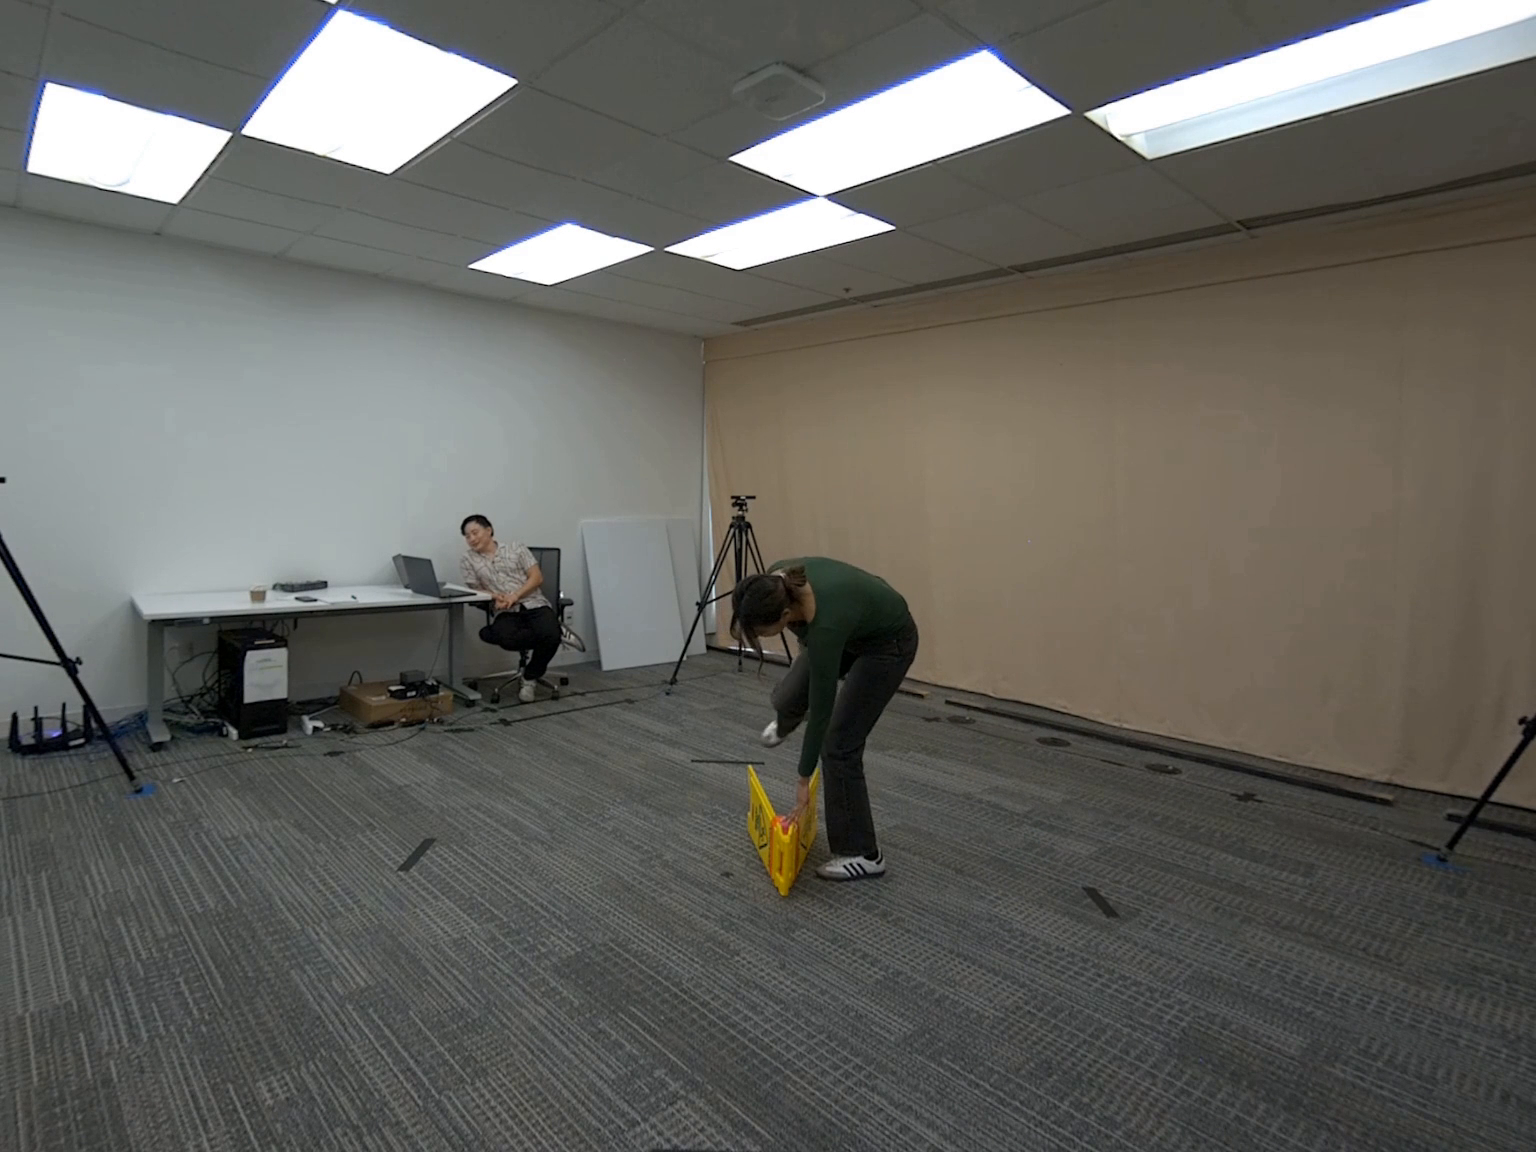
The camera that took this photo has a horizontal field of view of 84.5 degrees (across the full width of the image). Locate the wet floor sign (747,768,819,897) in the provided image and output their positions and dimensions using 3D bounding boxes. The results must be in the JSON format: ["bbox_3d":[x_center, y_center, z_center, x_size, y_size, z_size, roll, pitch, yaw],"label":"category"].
[{"bbox_3d":[0.055,0.961,3.197,0.290,0.281,0.648,1,7,0],"label":"wet floor sign"}]
